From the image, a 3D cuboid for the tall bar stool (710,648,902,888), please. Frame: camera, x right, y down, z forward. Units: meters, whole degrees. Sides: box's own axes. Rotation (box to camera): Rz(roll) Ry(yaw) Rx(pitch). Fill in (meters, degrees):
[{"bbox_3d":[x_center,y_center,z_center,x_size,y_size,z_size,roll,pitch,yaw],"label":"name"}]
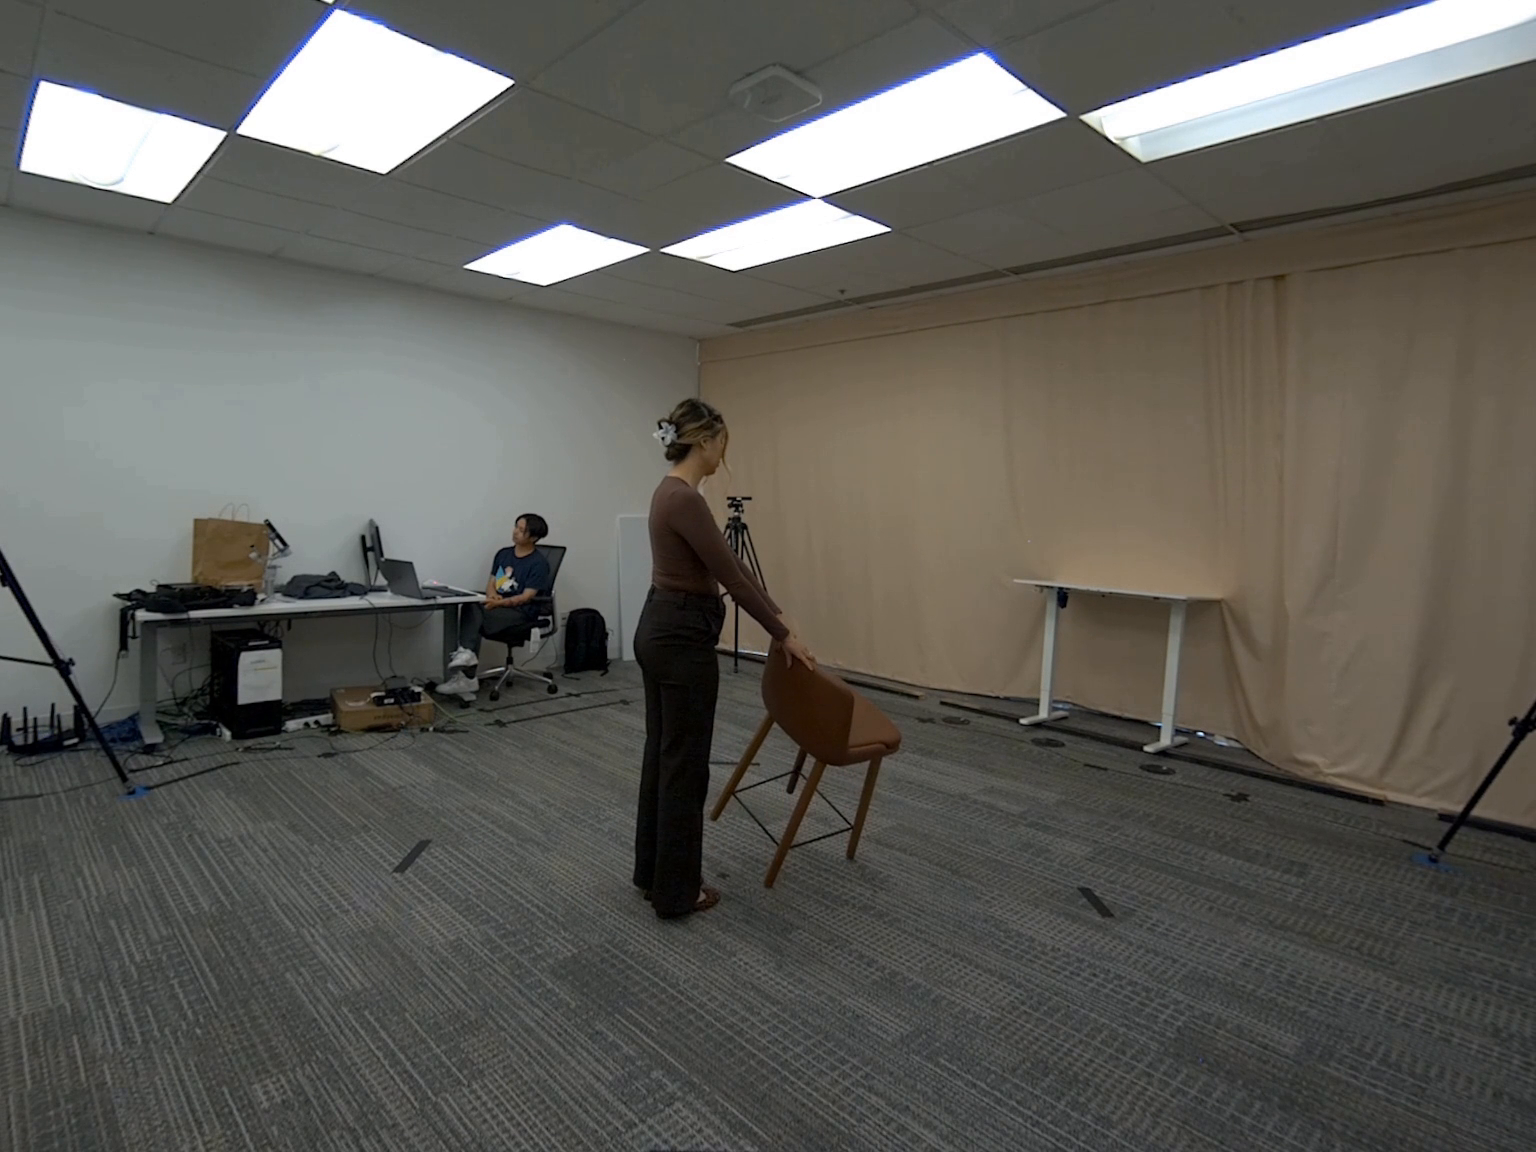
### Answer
[{"bbox_3d":[0.165,0.638,3.110,0.457,0.880,0.471,-5,31,-41],"label":"tall bar stool"}]
